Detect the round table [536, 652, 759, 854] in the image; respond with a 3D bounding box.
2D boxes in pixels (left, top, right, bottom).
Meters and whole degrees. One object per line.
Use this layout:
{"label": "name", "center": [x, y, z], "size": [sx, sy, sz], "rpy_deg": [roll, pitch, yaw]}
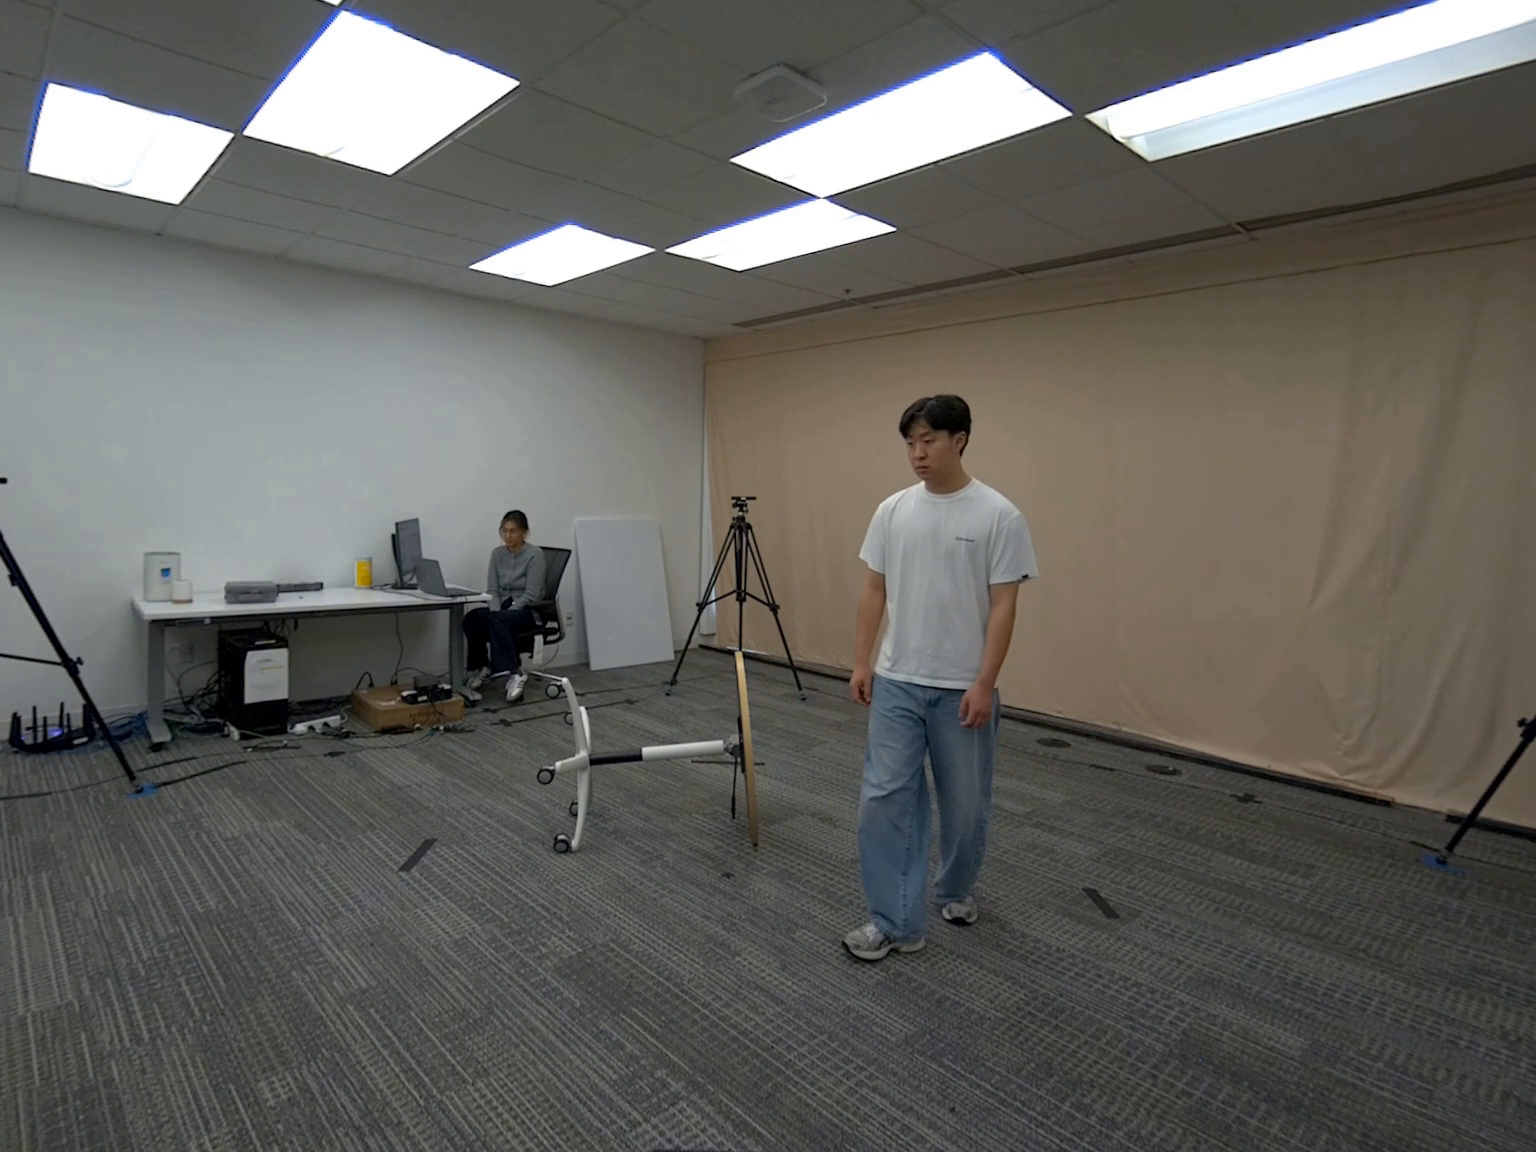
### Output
{"label": "round table", "center": [-0.477, 0.723, 3.440], "size": [0.785, 0.782, 0.789], "rpy_deg": [-5, 5, -3]}
